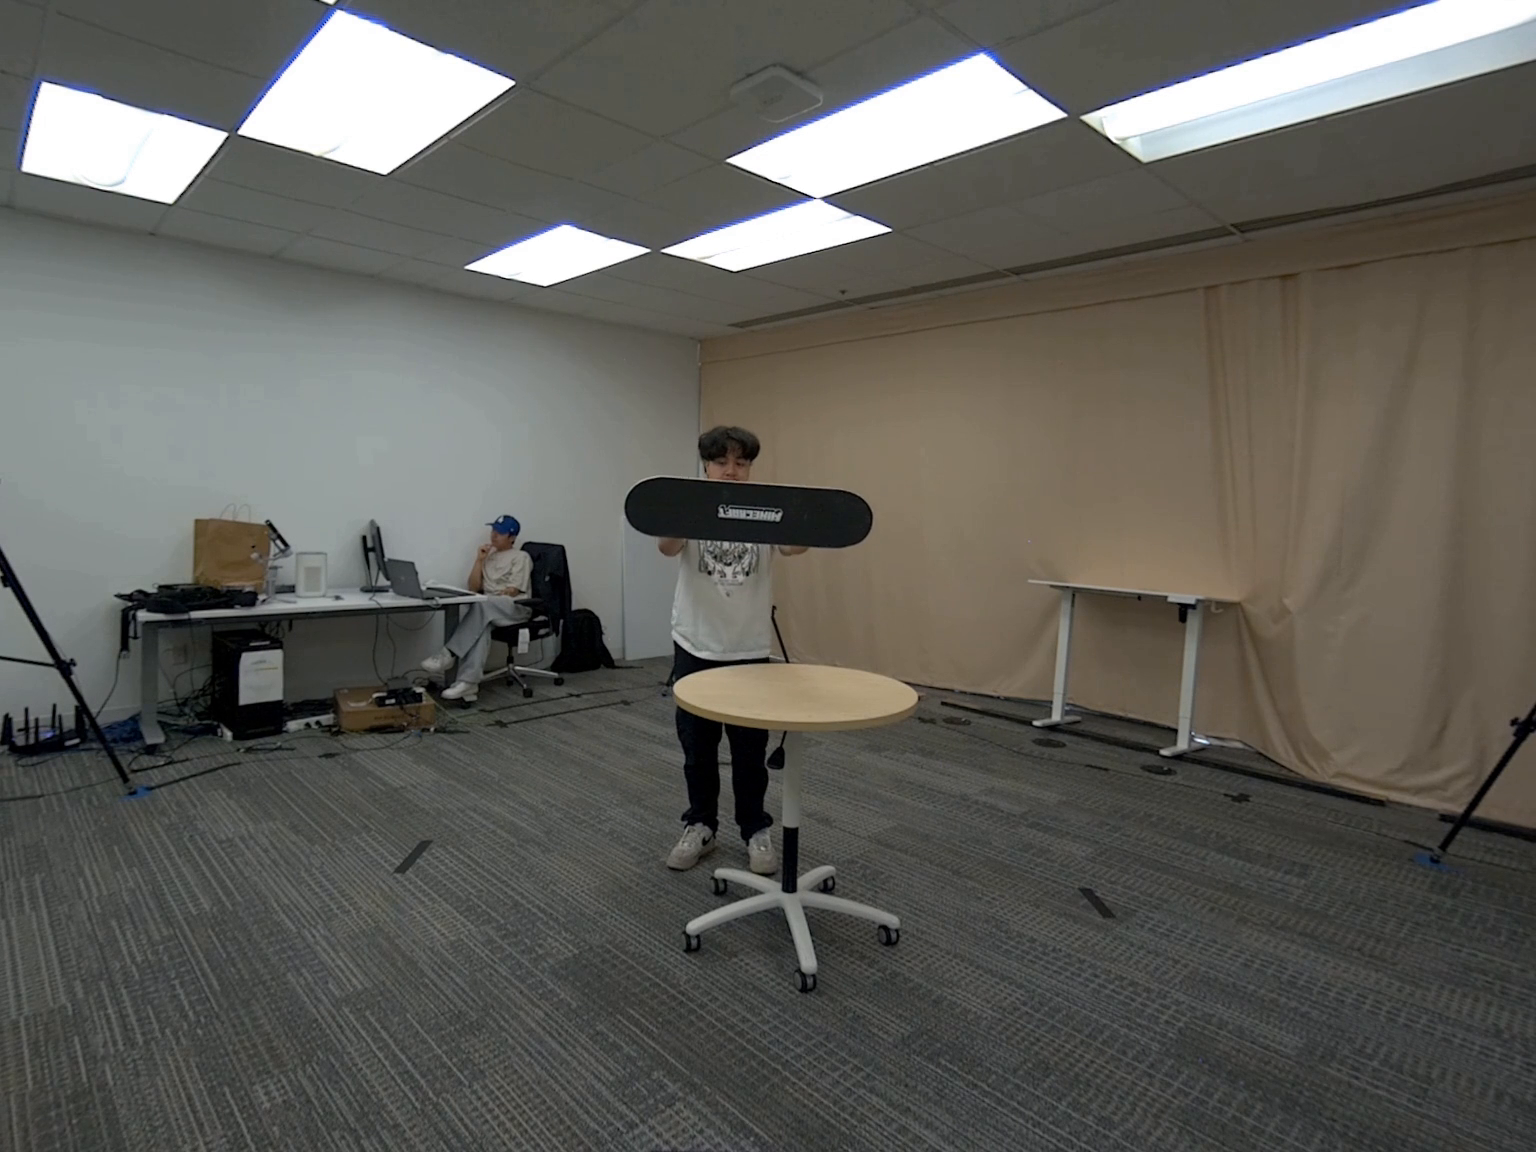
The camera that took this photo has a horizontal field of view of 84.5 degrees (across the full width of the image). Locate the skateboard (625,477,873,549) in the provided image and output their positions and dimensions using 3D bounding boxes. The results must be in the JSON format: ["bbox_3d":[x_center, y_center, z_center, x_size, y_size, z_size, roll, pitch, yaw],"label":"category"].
[{"bbox_3d":[-0.095,-0.203,2.680,0.781,0.193,0.111,3,5,-7],"label":"skateboard"}]
